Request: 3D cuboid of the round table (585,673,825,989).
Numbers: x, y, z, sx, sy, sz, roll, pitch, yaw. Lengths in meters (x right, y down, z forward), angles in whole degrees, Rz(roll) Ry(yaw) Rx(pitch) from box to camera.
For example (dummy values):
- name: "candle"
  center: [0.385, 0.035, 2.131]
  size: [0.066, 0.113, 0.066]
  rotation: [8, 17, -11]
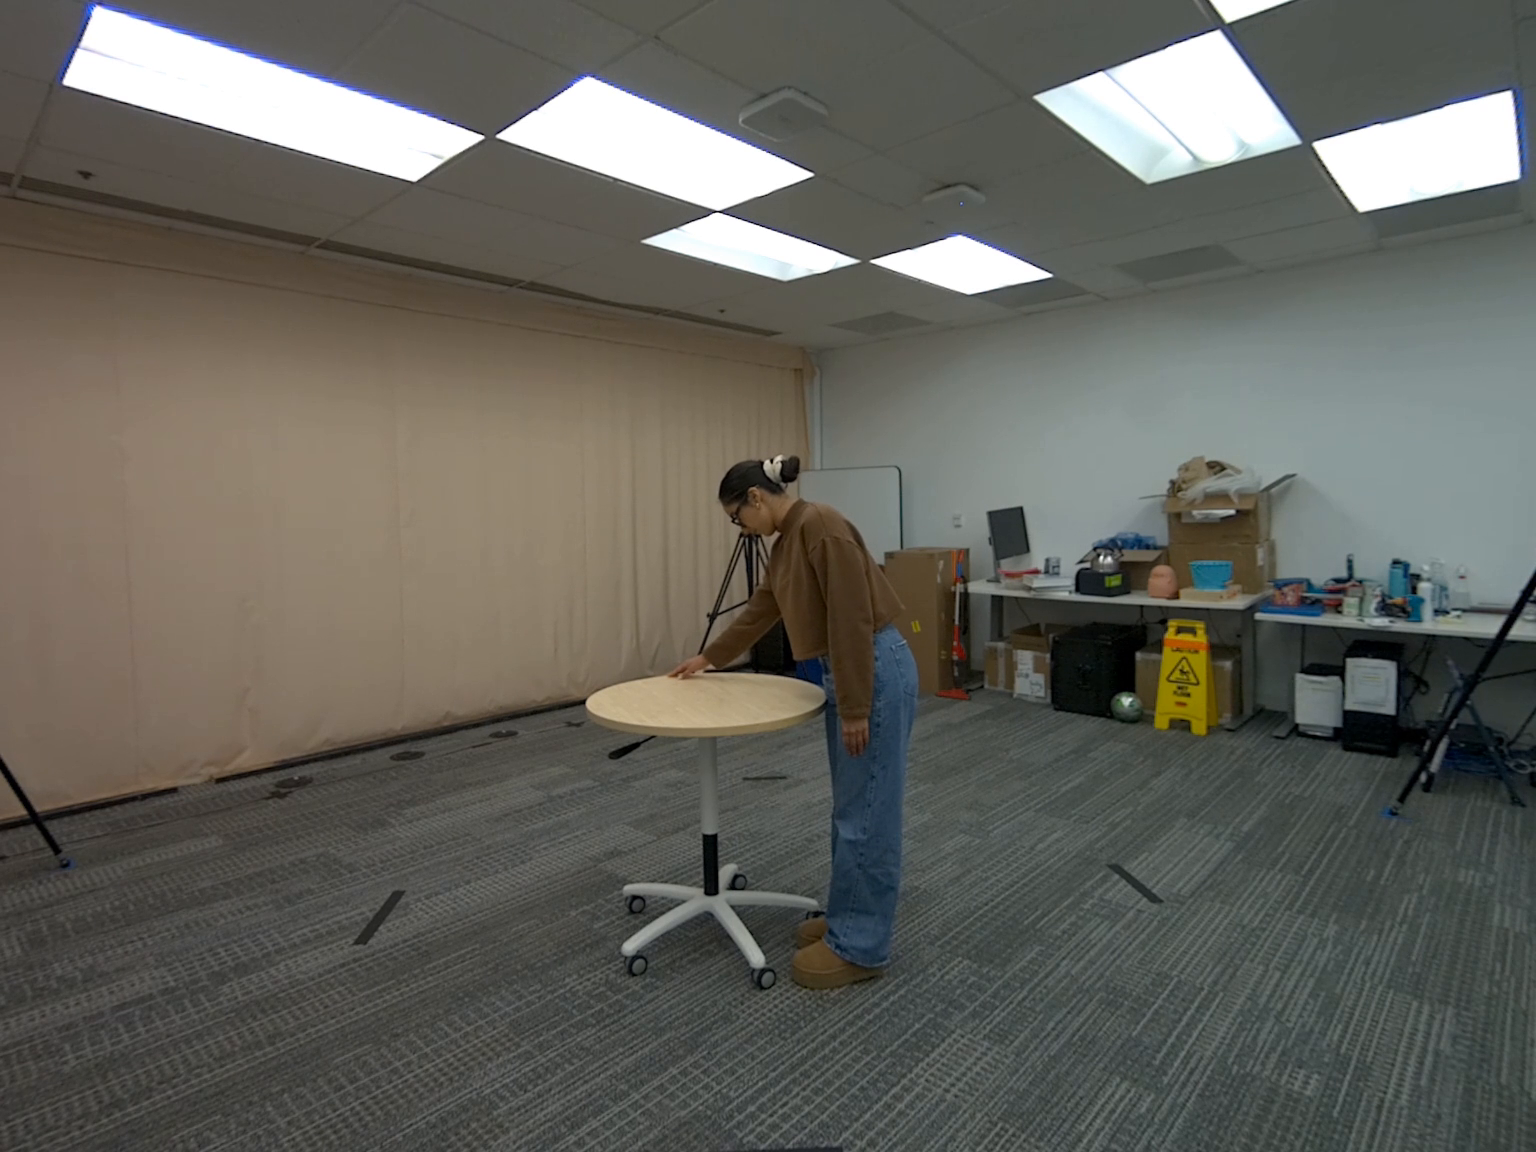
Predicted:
- name: "round table"
  center: [-0.191, 0.782, 2.711]
  size: [0.763, 0.792, 0.766]
  rotation: [-2, 4, -2]
